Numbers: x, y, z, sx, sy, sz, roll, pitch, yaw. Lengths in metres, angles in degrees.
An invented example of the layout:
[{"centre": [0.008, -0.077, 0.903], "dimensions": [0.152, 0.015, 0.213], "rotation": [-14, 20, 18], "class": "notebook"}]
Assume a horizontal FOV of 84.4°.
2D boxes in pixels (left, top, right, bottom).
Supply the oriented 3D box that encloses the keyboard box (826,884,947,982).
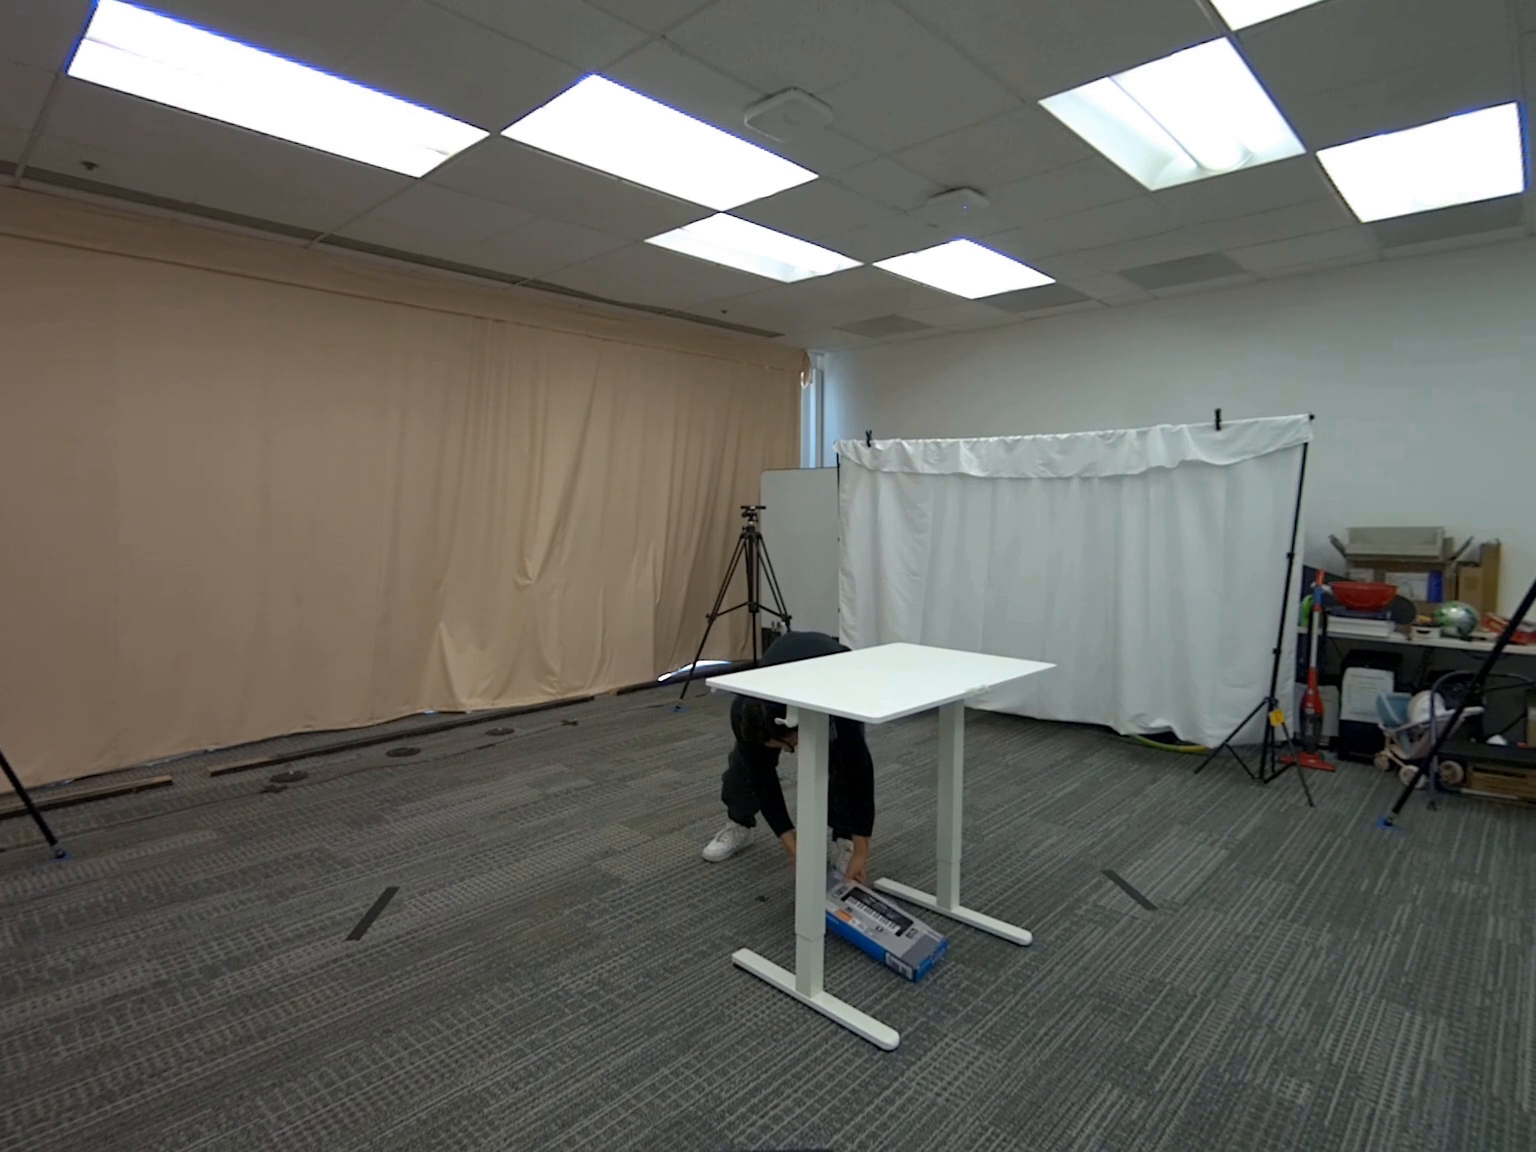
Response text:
[{"centre": [0.330, 1.084, 2.642], "dimensions": [0.172, 0.058, 0.453], "rotation": [-20, 27, -41], "class": "keyboard box"}]
